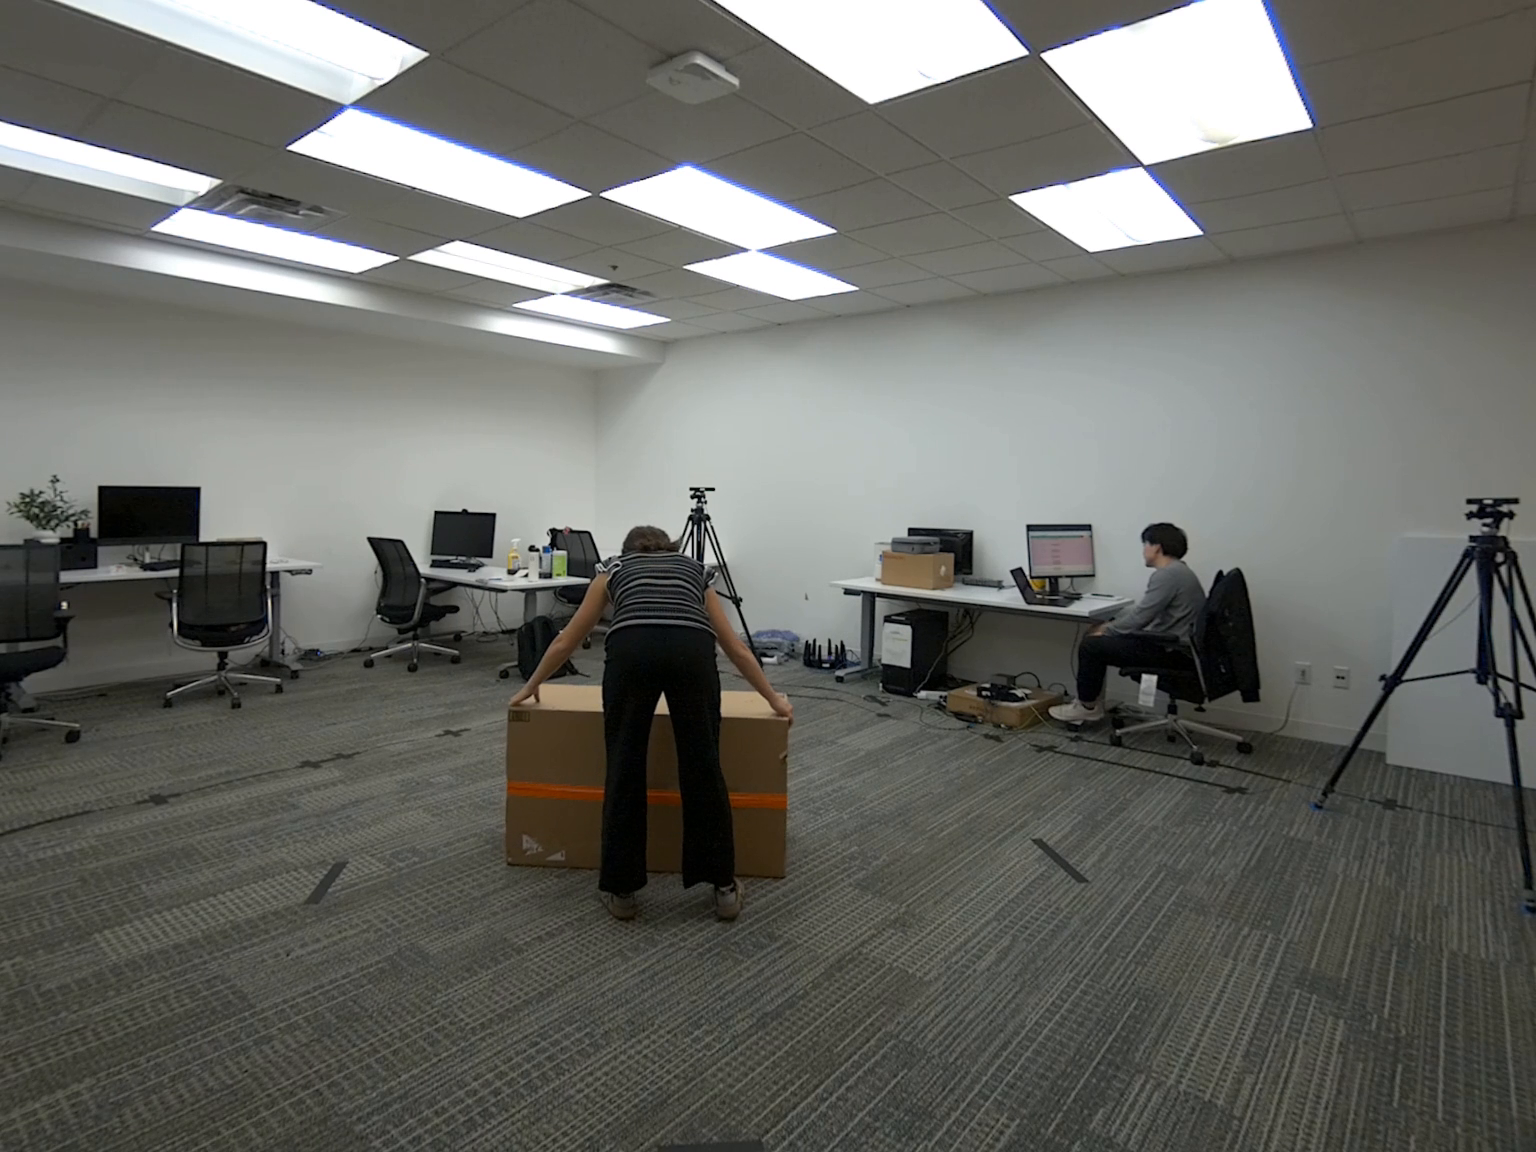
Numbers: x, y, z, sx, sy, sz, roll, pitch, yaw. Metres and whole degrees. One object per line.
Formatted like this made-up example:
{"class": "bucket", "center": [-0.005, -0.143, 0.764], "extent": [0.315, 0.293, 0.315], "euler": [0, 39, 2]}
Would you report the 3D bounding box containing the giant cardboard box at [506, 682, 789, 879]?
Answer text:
{"class": "giant cardboard box", "center": [-0.449, 0.756, 3.265], "extent": [1.030, 0.576, 0.426], "euler": [1, 4, 3]}
